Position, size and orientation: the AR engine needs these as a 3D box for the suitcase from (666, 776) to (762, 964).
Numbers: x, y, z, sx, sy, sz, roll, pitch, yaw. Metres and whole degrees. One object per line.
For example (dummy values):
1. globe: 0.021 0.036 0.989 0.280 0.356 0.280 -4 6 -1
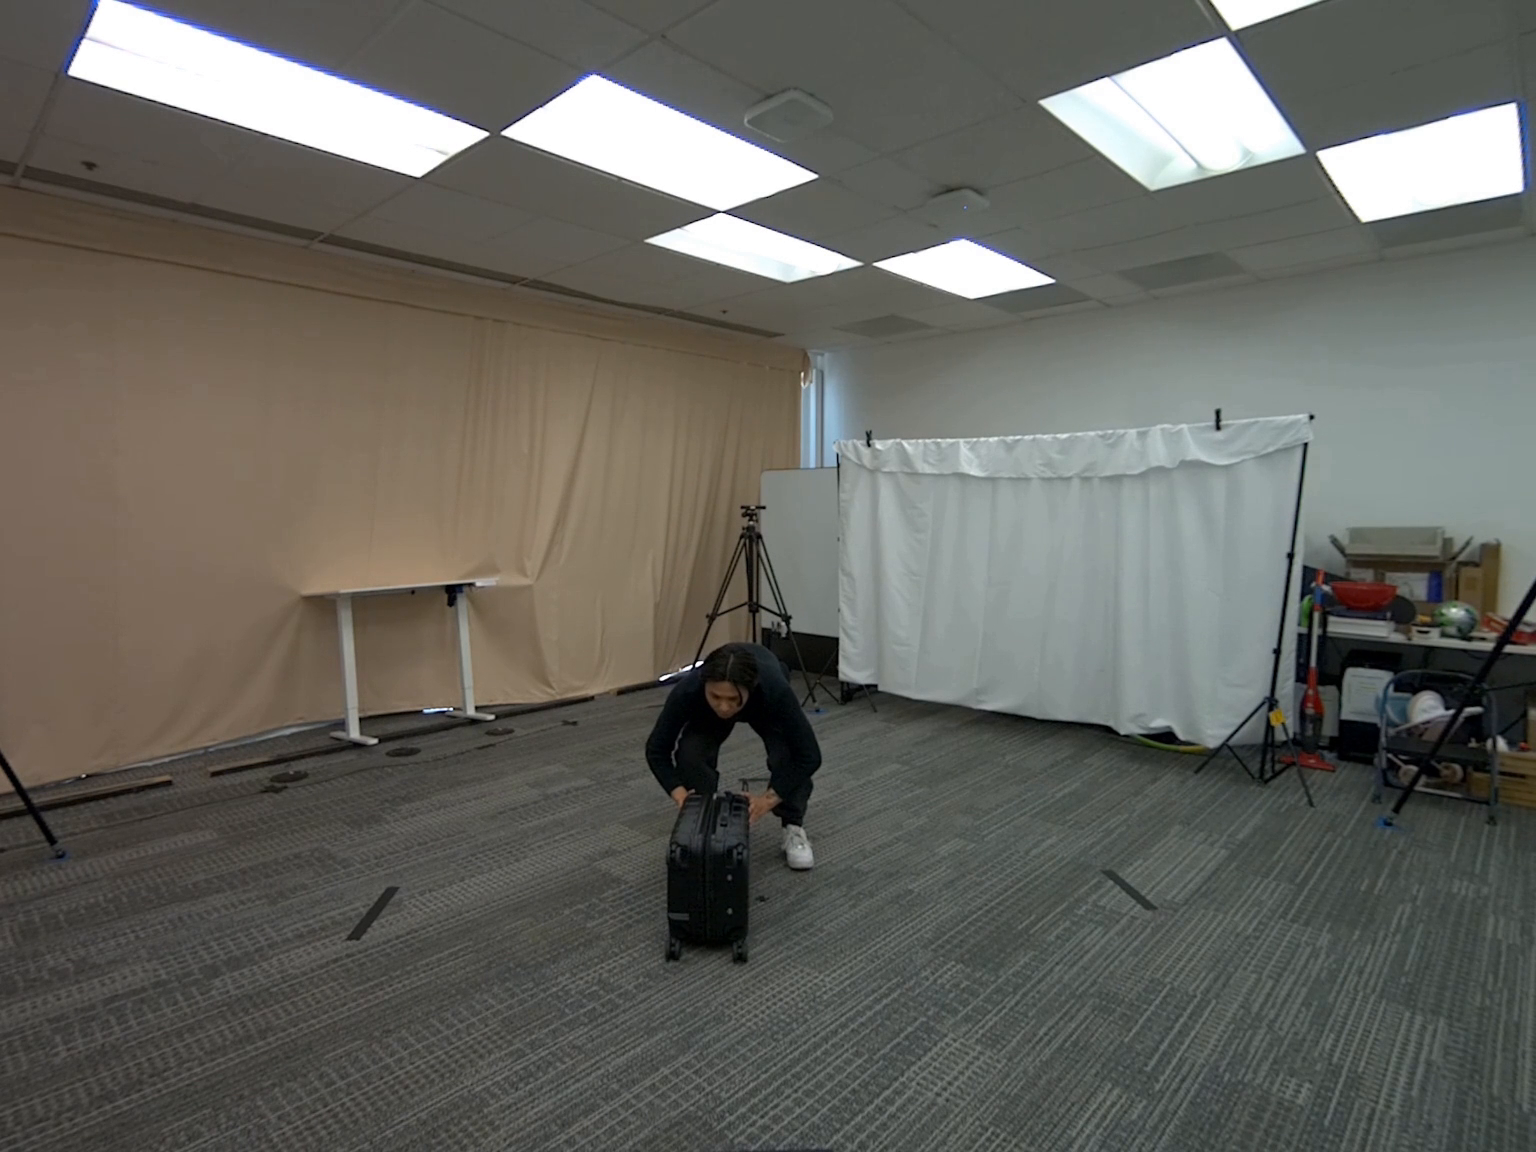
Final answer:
1. suitcase: -0.187 0.953 3.030 0.257 0.383 0.981 1 6 -1
